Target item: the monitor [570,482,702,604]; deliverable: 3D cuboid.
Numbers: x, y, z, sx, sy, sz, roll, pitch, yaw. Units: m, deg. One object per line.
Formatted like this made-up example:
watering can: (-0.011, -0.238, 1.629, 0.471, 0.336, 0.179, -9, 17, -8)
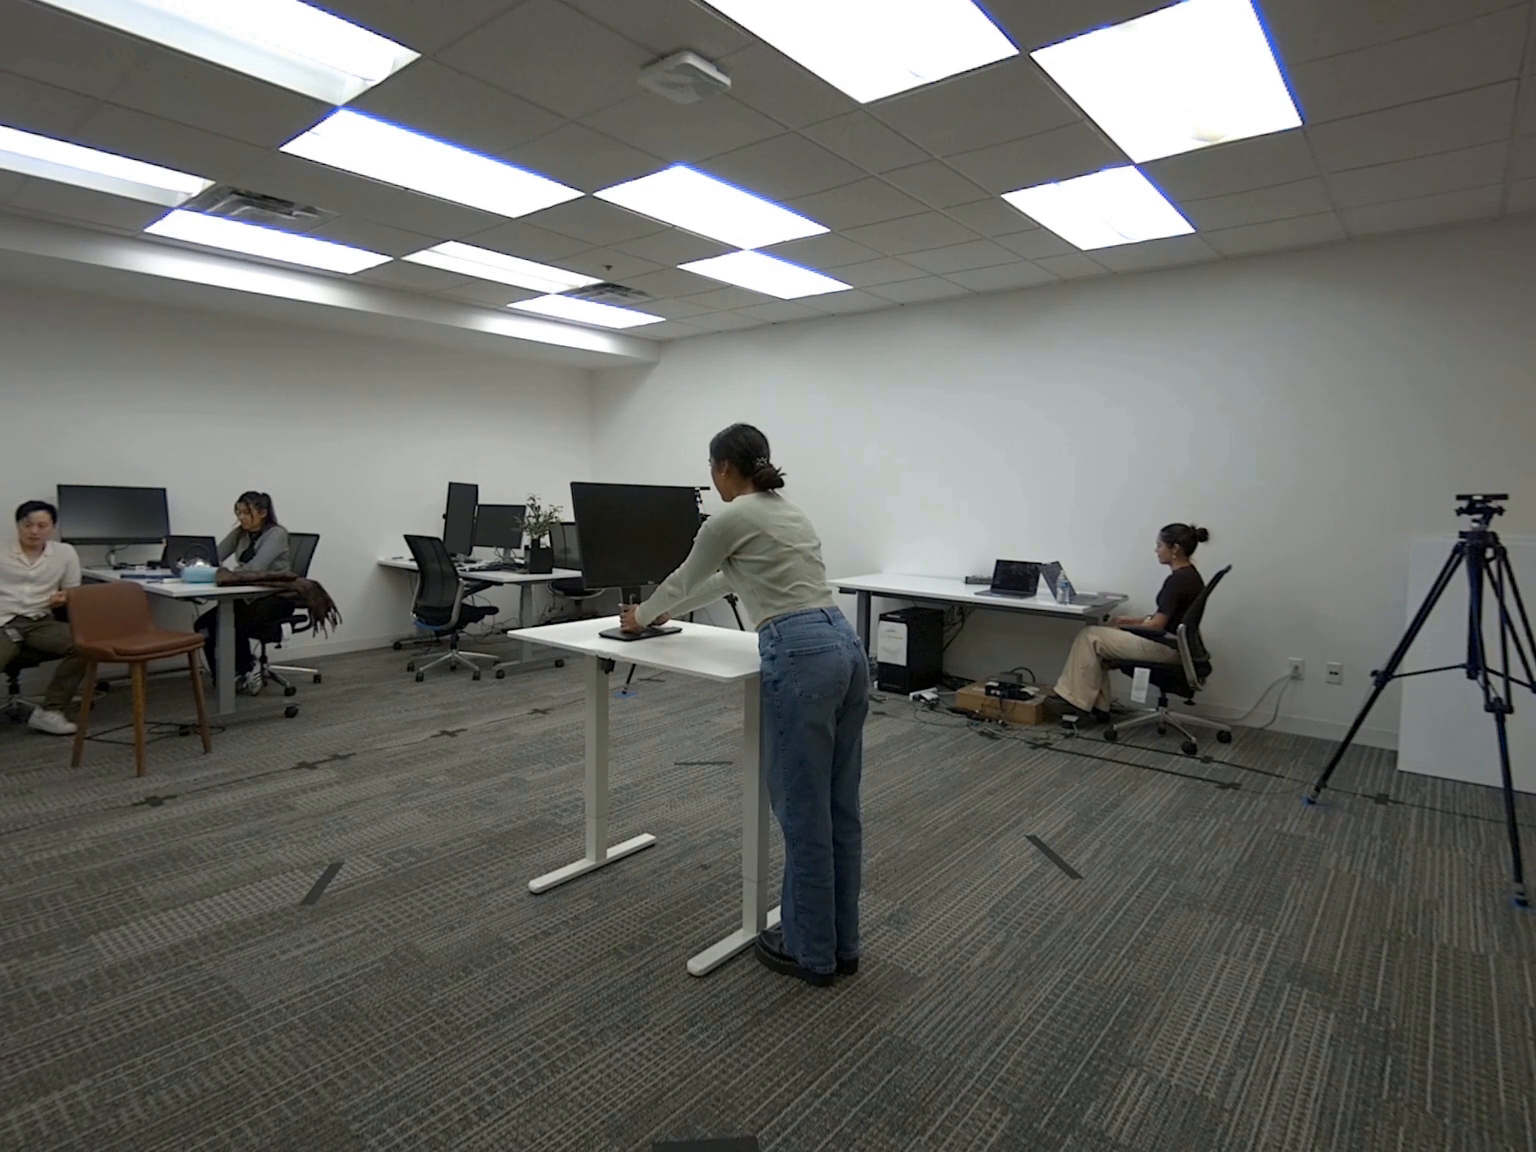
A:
monitor: (-0.452, -0.056, 2.917, 0.193, 0.522, 0.522, 2, 3, 44)
